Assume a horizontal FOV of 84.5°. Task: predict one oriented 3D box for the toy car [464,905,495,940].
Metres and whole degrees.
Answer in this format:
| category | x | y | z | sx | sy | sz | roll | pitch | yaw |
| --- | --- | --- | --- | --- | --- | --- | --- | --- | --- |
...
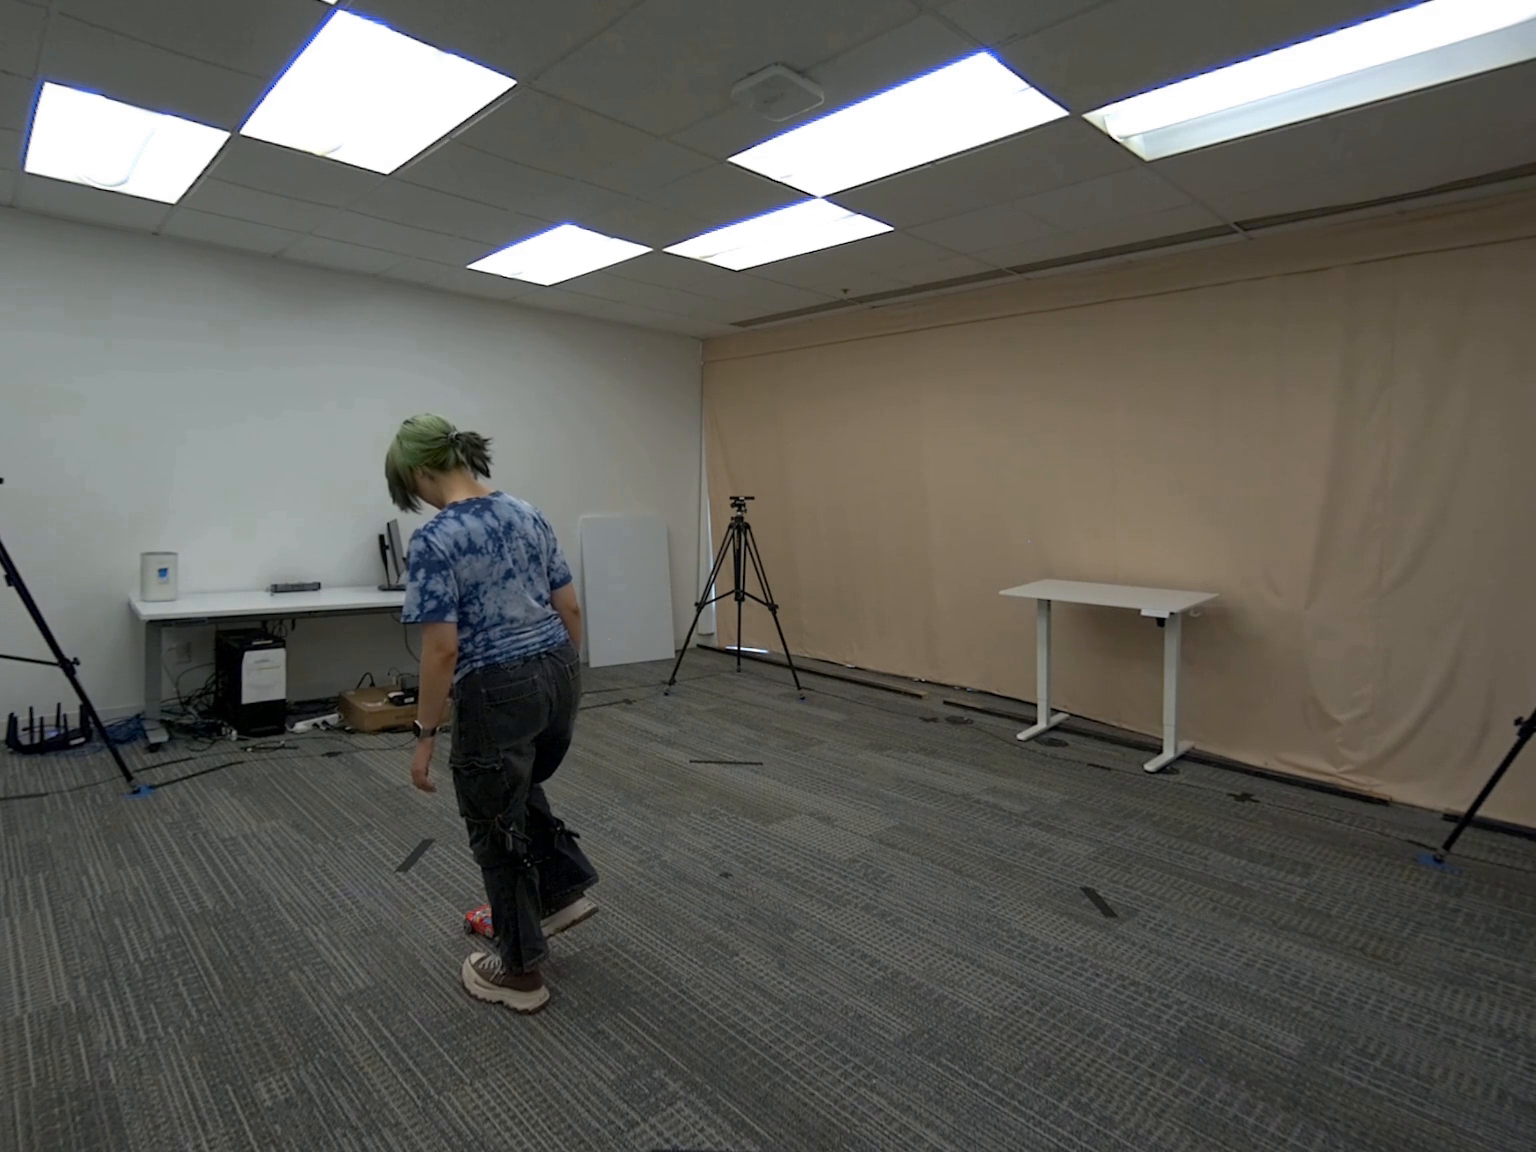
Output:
| category | x | y | z | sx | sy | sz | roll | pitch | yaw |
| --- | --- | --- | --- | --- | --- | --- | --- | --- | --- |
| toy car | -0.842 | 1.102 | 2.641 | 0.259 | 0.083 | 0.127 | -9 | -1 | 35 |
